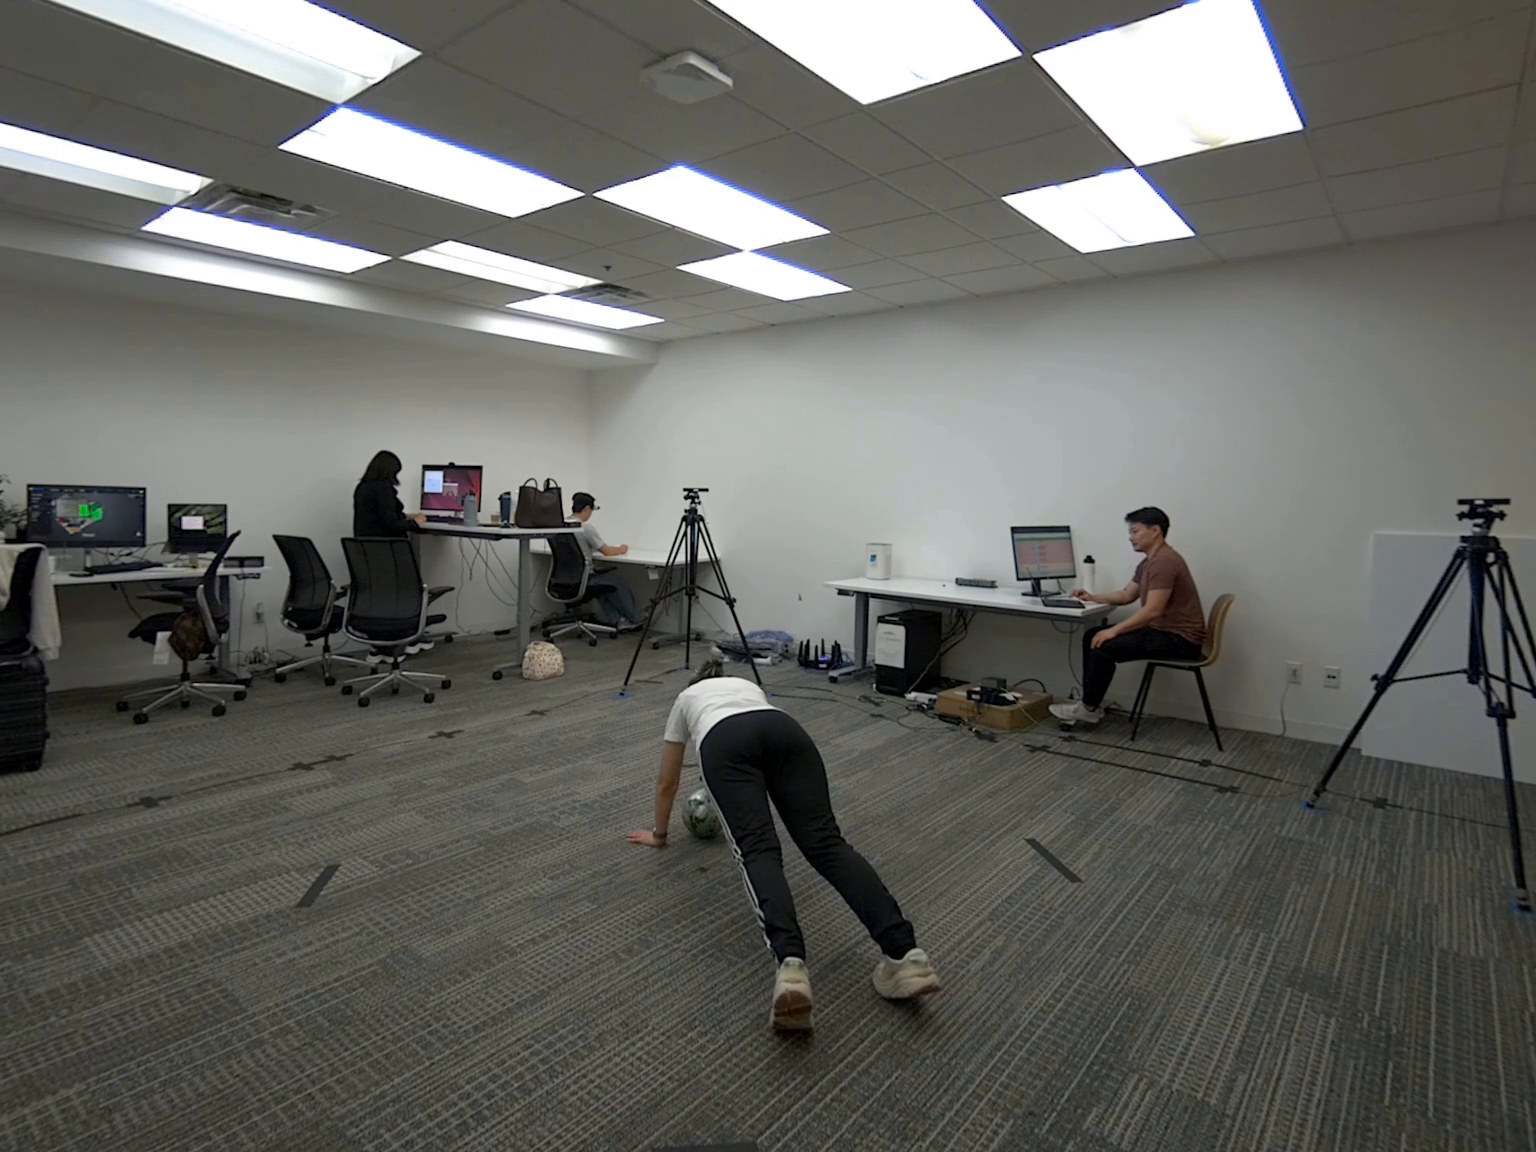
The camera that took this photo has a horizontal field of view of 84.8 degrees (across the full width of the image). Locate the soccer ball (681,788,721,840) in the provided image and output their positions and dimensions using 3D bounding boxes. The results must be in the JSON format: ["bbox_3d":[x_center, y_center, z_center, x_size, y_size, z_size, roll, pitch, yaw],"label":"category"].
[{"bbox_3d":[-0.261,0.944,3.411,0.187,0.187,0.188,1,4,-2],"label":"soccer ball"}]
